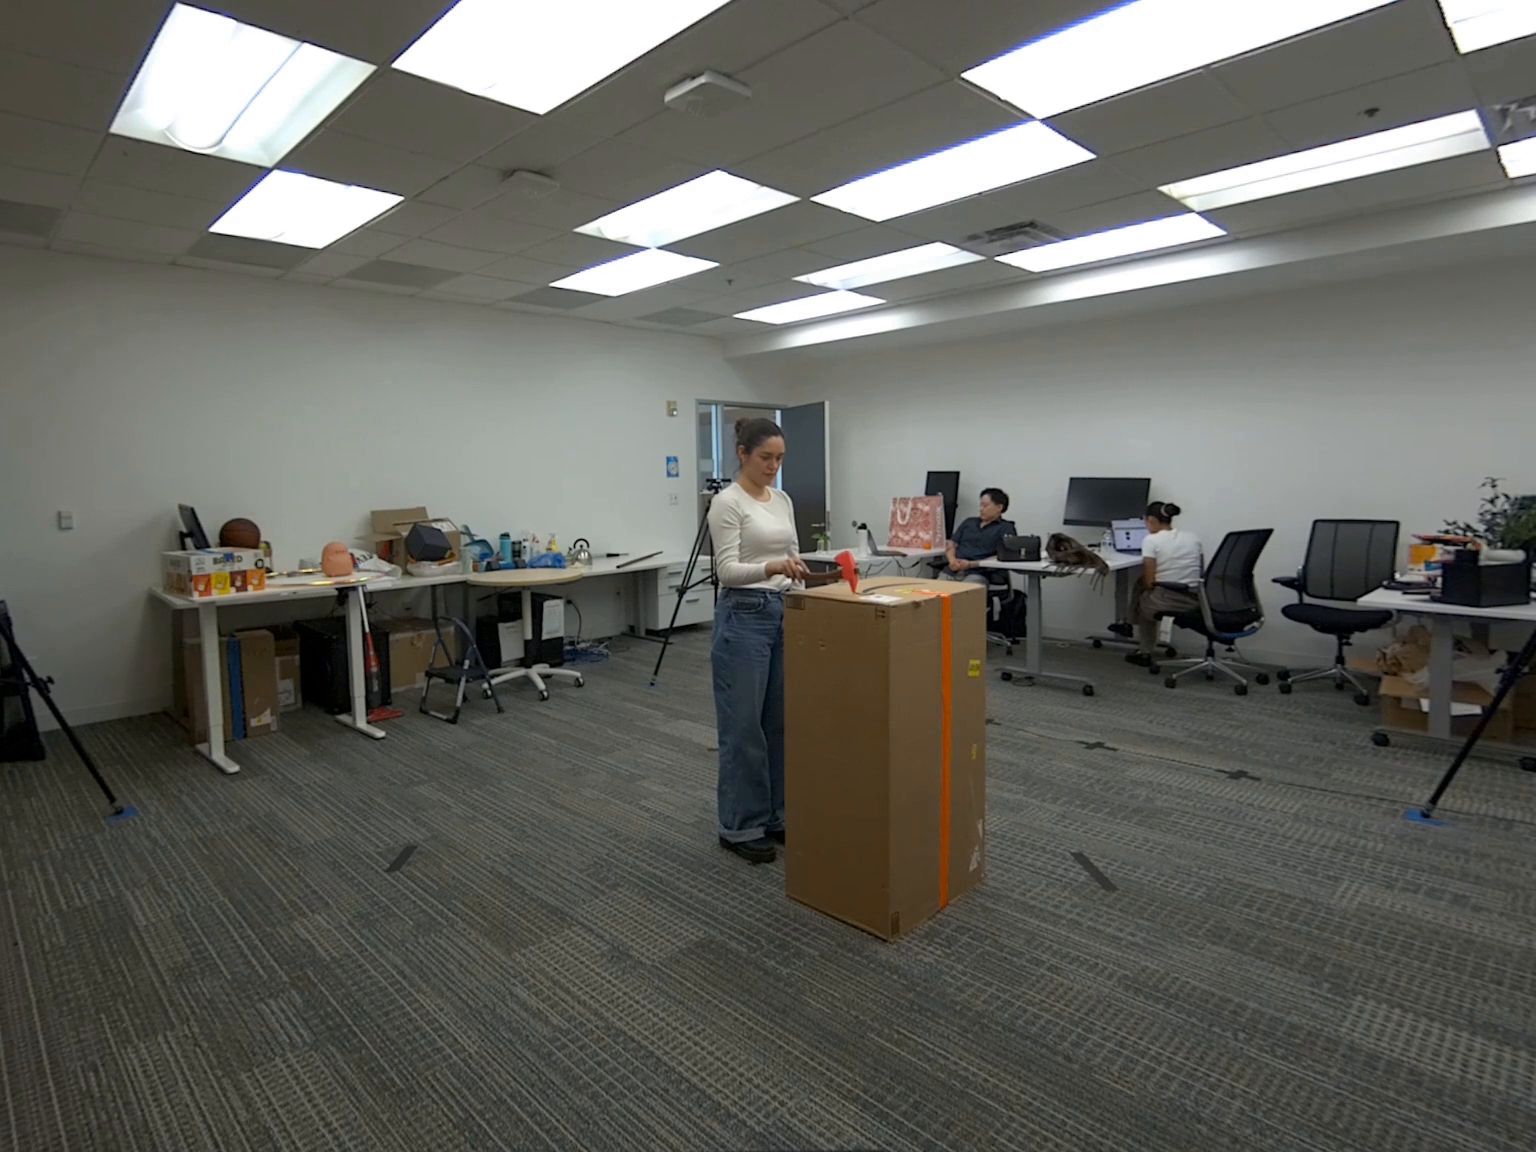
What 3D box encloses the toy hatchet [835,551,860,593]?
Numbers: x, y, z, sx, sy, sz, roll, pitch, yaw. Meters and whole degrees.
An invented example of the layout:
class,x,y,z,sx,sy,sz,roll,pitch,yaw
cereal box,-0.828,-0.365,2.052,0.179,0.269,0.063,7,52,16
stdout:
class,x,y,z,sx,sy,sz,roll,pitch,yaw
toy hatchet,0.191,-0.031,2.758,0.279,0.130,0.029,13,13,40
